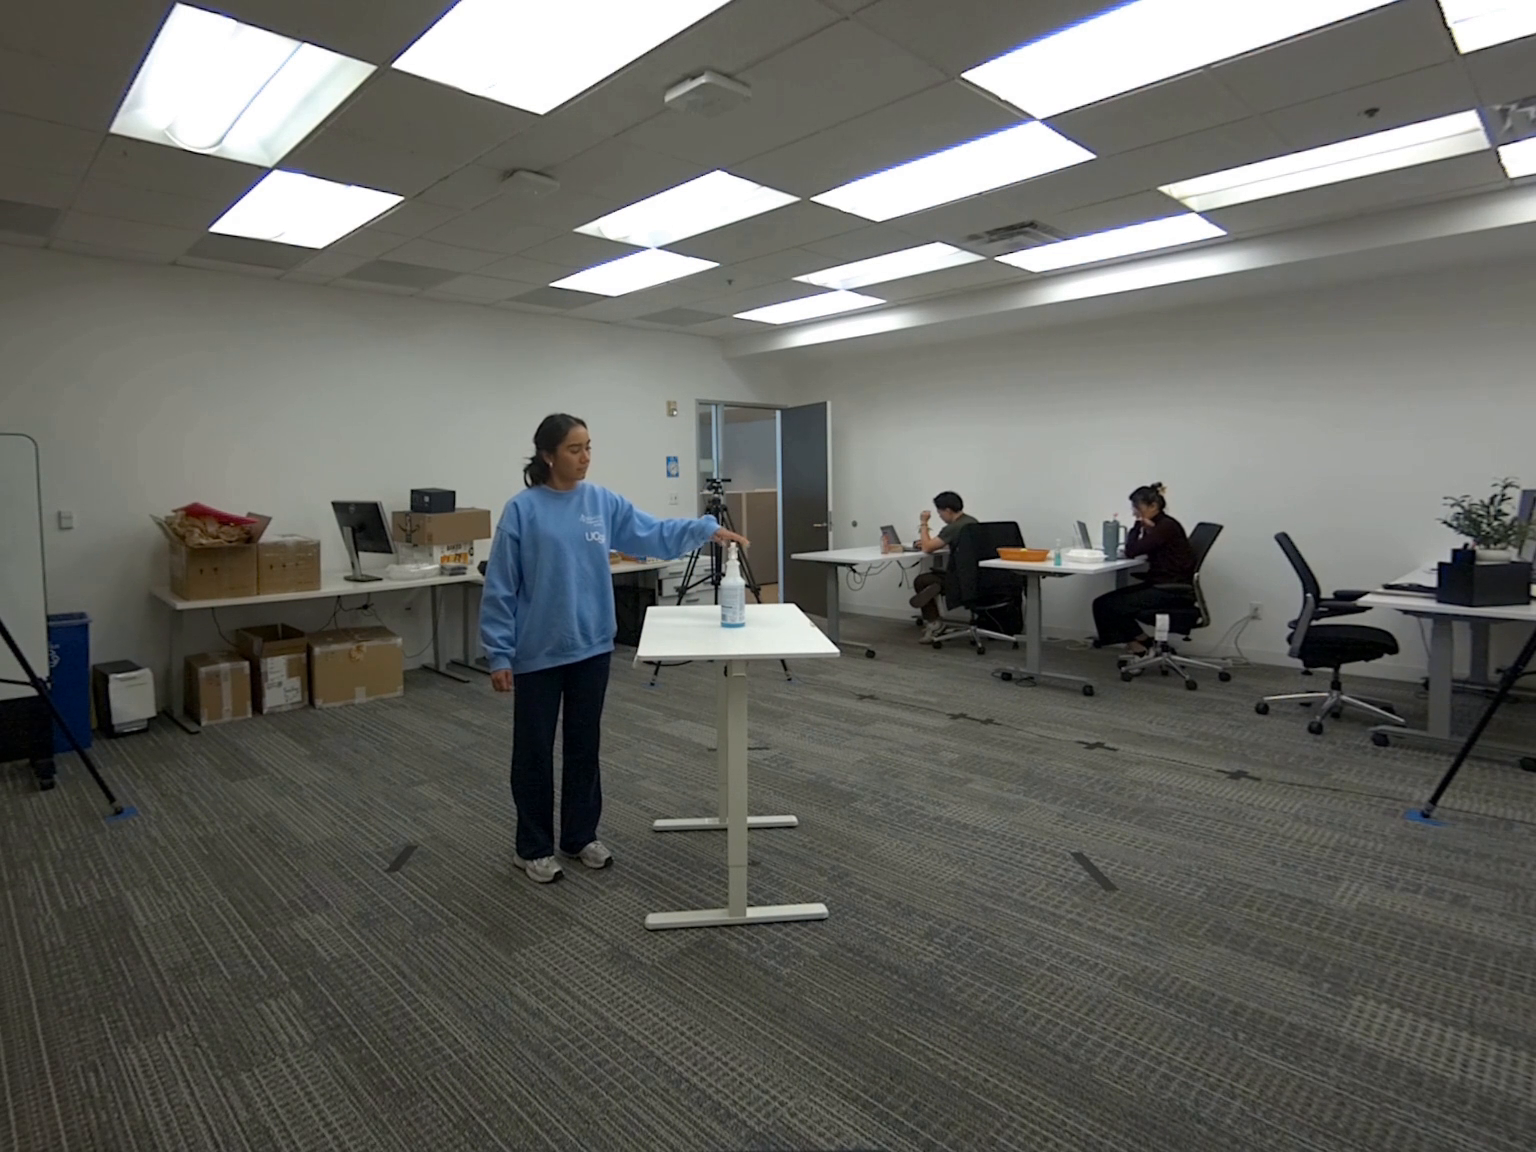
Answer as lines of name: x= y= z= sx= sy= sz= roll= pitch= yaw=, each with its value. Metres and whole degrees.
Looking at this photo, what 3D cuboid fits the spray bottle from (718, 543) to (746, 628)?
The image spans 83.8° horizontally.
spray bottle: x=-0.124 y=0.029 z=2.992 sx=0.089 sy=0.296 sz=0.089 roll=1 pitch=5 yaw=20
